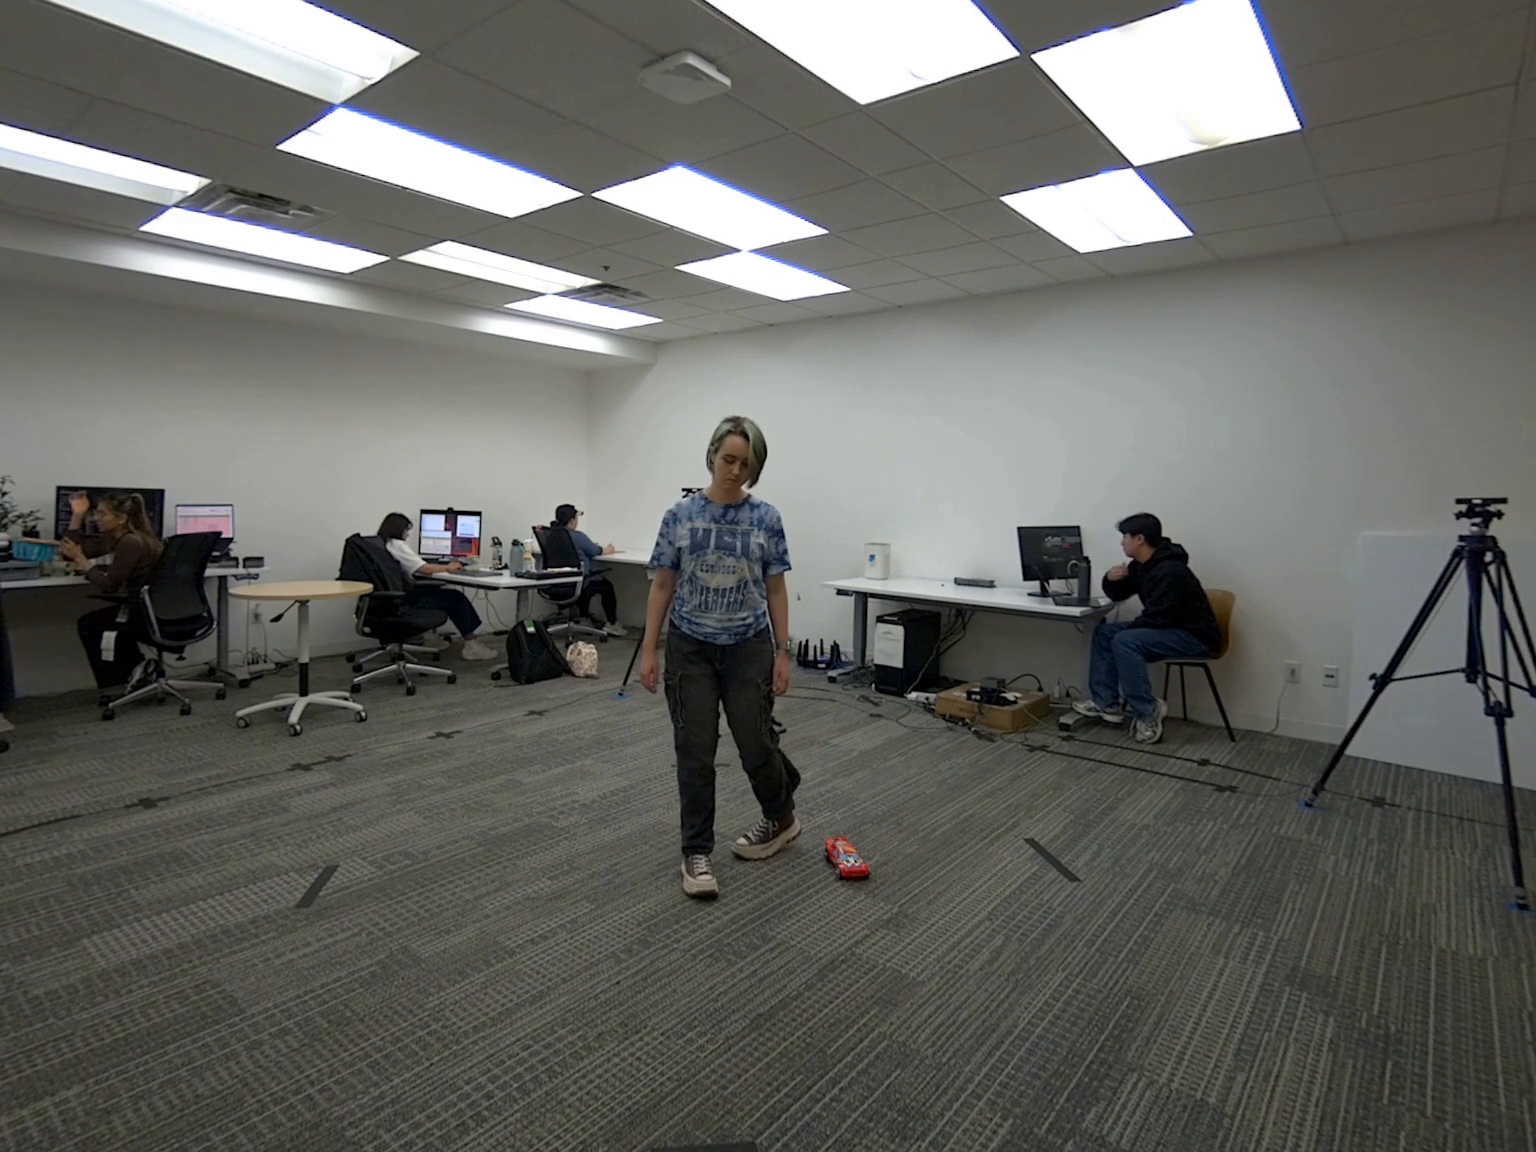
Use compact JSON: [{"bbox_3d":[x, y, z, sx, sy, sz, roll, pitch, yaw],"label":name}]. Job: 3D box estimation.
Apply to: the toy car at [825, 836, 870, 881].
[{"bbox_3d":[0.279,1.049,3.153,0.129,0.082,0.261,-1,17,-10],"label":"toy car"}]
